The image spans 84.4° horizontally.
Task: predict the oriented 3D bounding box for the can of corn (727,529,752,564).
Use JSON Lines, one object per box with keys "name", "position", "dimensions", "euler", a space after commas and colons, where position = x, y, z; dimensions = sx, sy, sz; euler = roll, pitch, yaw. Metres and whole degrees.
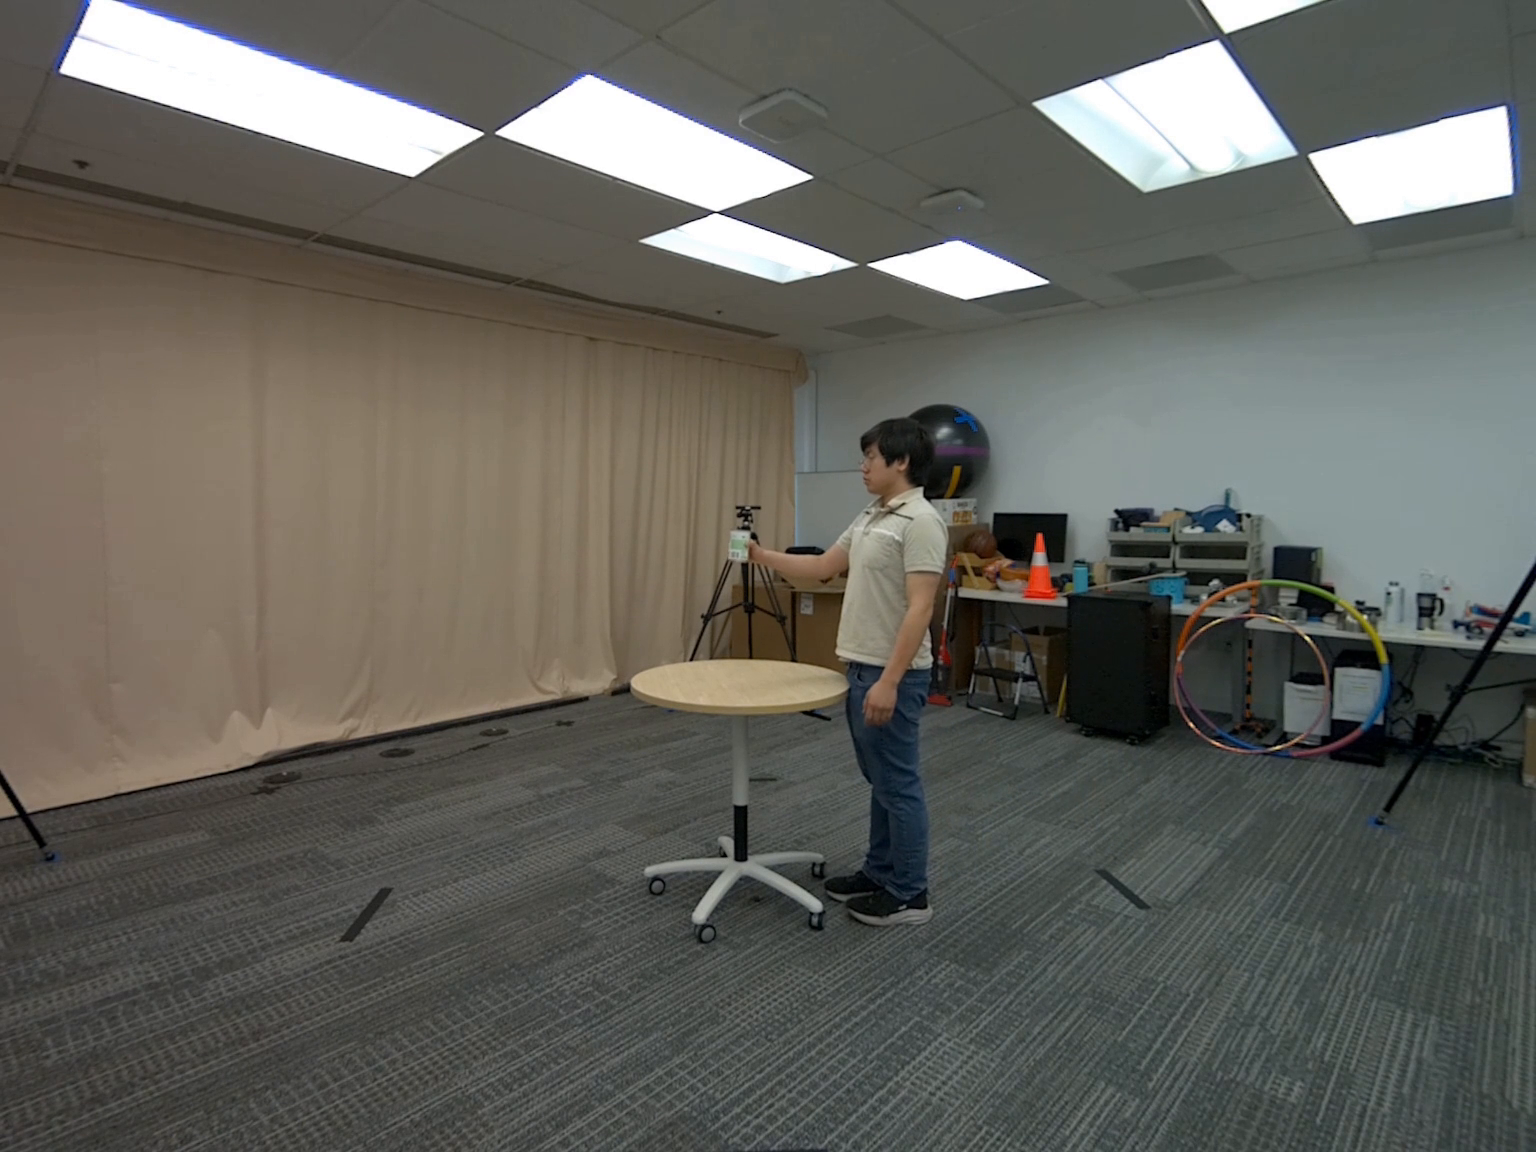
{"name": "can of corn", "position": [-0.108, -0.103, 2.956], "dimensions": [0.074, 0.111, 0.074], "euler": [1, 3, -2]}
